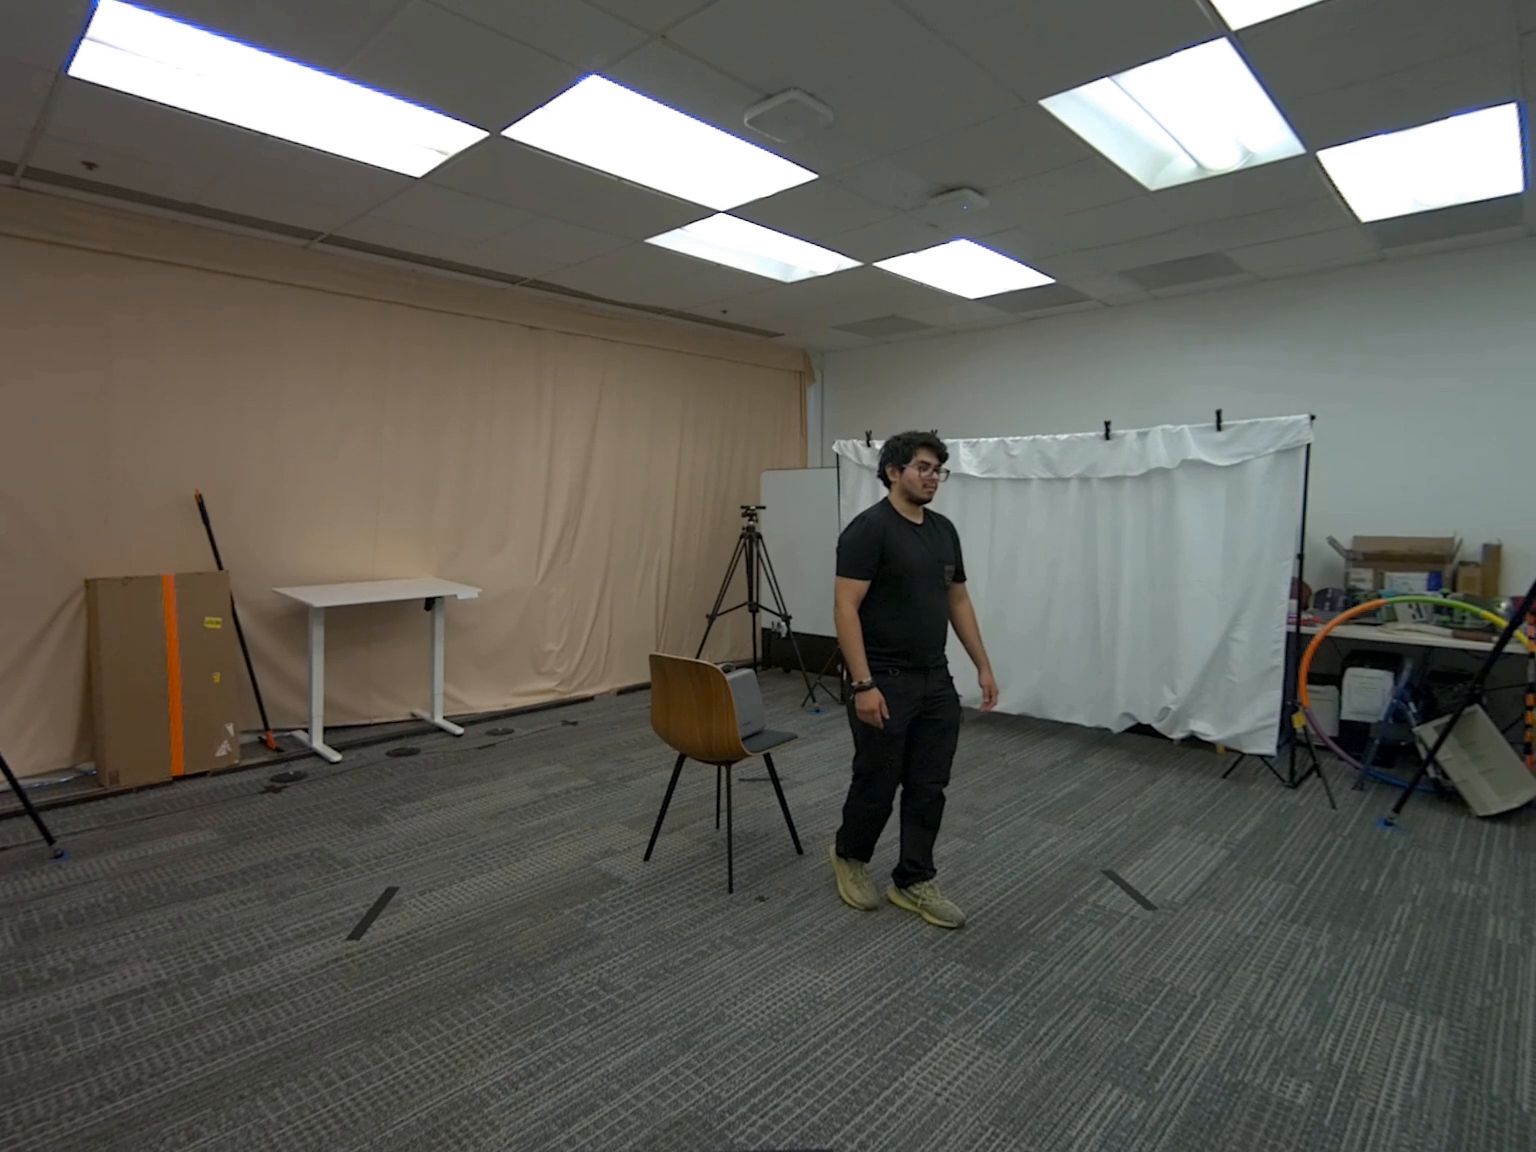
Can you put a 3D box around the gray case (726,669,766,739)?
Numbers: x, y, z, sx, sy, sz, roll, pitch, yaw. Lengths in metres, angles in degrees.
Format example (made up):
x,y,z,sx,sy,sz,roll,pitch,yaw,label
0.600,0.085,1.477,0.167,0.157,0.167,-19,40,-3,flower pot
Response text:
x,y,z,sx,sy,sz,roll,pitch,yaw,label
-0.131,0.510,3.337,0.107,0.261,0.250,-13,-1,39,gray case
